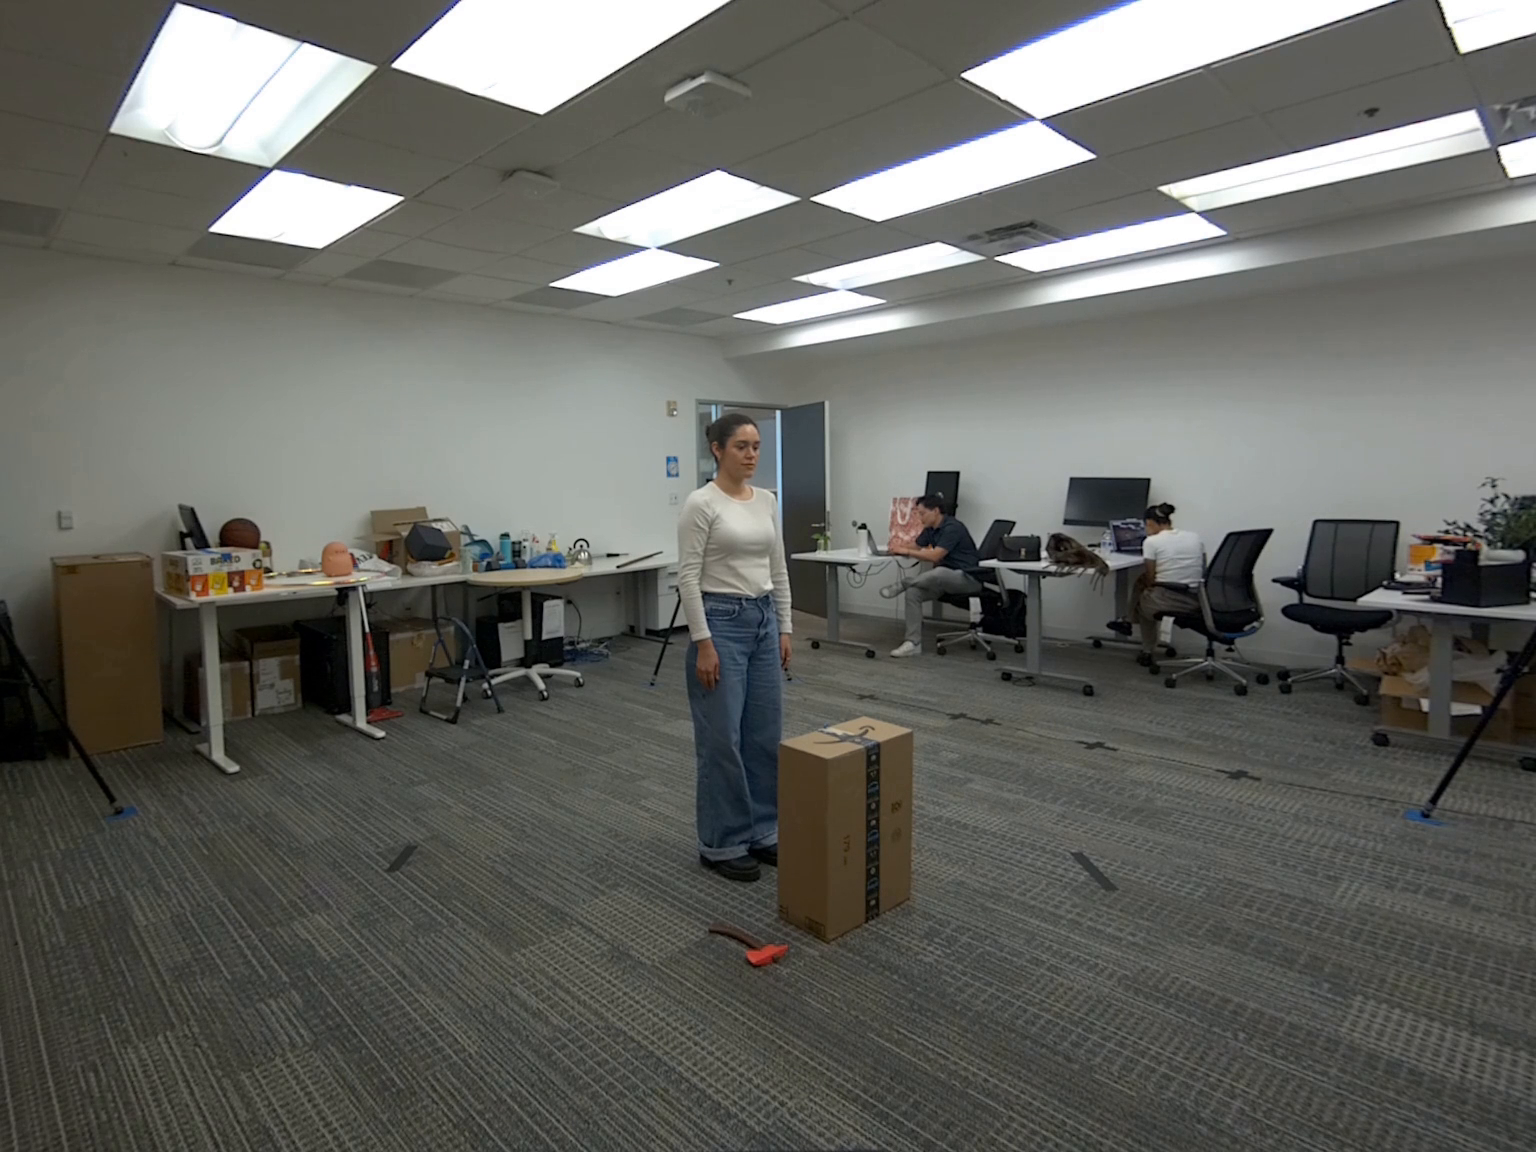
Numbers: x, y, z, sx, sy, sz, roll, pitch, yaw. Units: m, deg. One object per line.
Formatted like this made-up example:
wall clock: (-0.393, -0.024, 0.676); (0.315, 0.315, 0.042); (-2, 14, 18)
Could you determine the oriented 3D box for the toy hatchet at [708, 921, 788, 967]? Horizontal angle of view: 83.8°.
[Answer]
toy hatchet: (-0.081, 1.102, 2.542); (0.277, 0.029, 0.128); (2, 8, 34)
